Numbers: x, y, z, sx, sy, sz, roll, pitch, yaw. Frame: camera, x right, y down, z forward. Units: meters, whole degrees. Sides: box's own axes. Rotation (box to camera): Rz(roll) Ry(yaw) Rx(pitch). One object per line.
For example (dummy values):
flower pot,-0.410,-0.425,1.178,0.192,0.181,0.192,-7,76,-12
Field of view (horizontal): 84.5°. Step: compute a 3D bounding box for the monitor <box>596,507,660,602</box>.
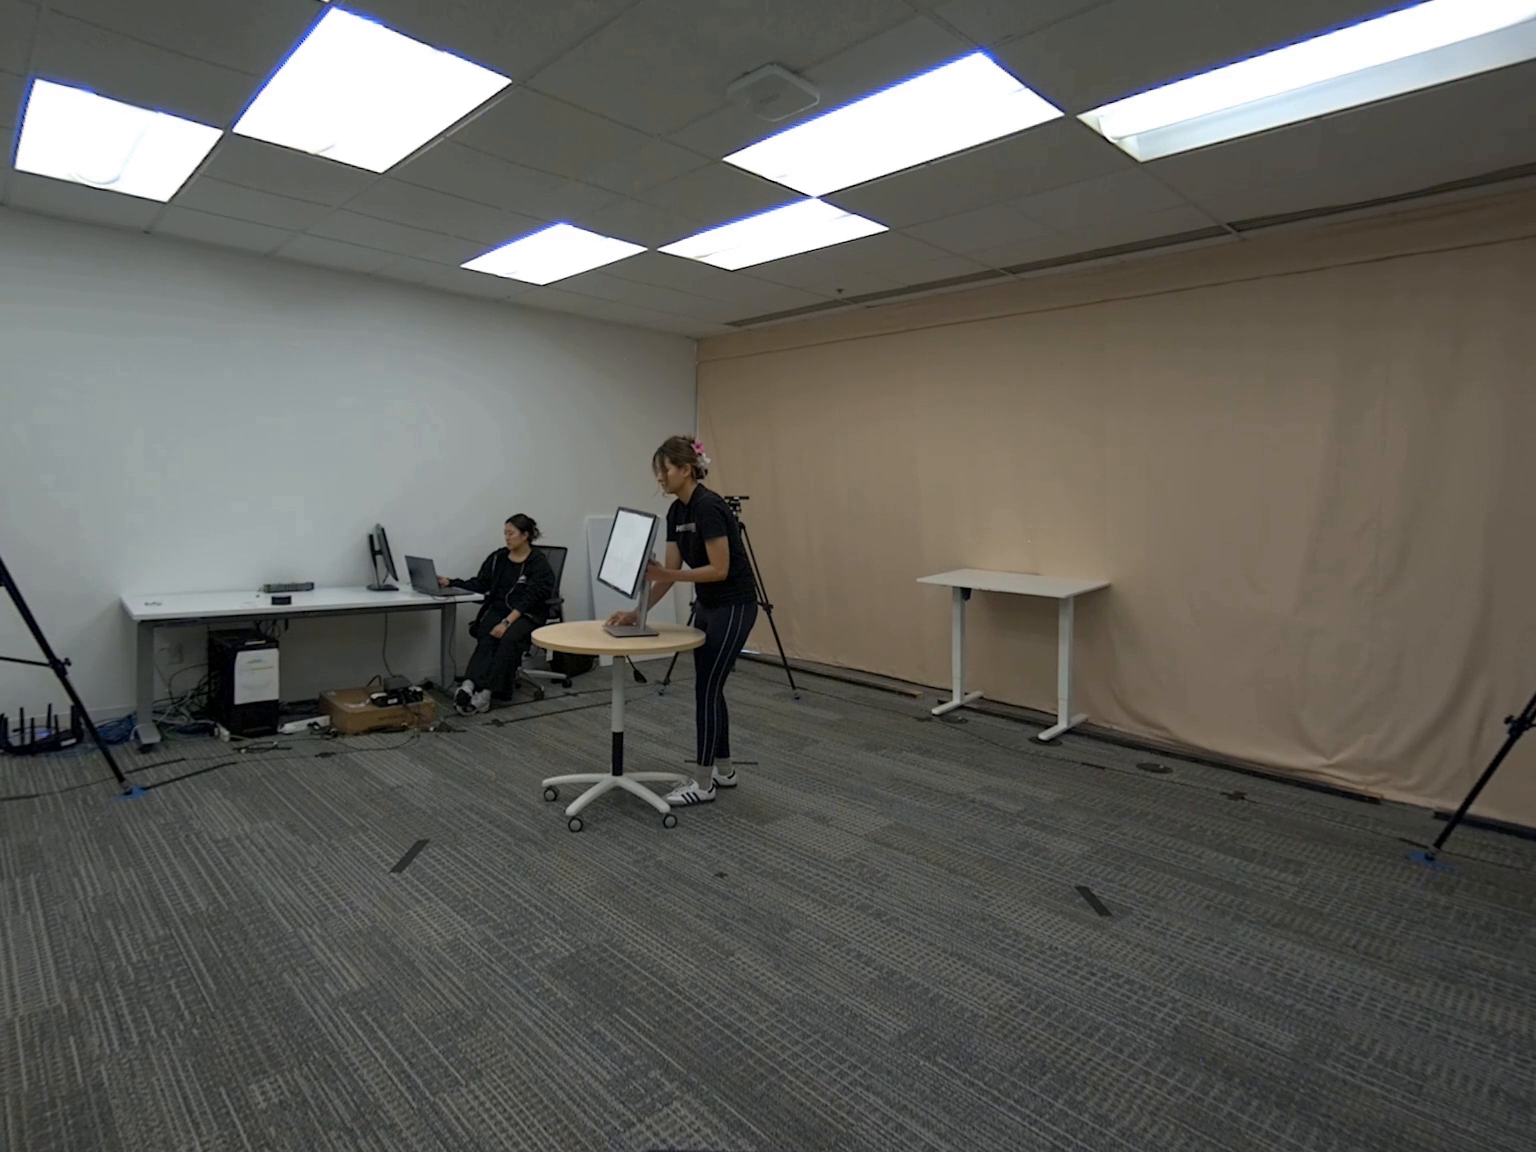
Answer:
monitor,-0.602,-0.017,3.742,0.183,0.520,0.551,1,7,-27
